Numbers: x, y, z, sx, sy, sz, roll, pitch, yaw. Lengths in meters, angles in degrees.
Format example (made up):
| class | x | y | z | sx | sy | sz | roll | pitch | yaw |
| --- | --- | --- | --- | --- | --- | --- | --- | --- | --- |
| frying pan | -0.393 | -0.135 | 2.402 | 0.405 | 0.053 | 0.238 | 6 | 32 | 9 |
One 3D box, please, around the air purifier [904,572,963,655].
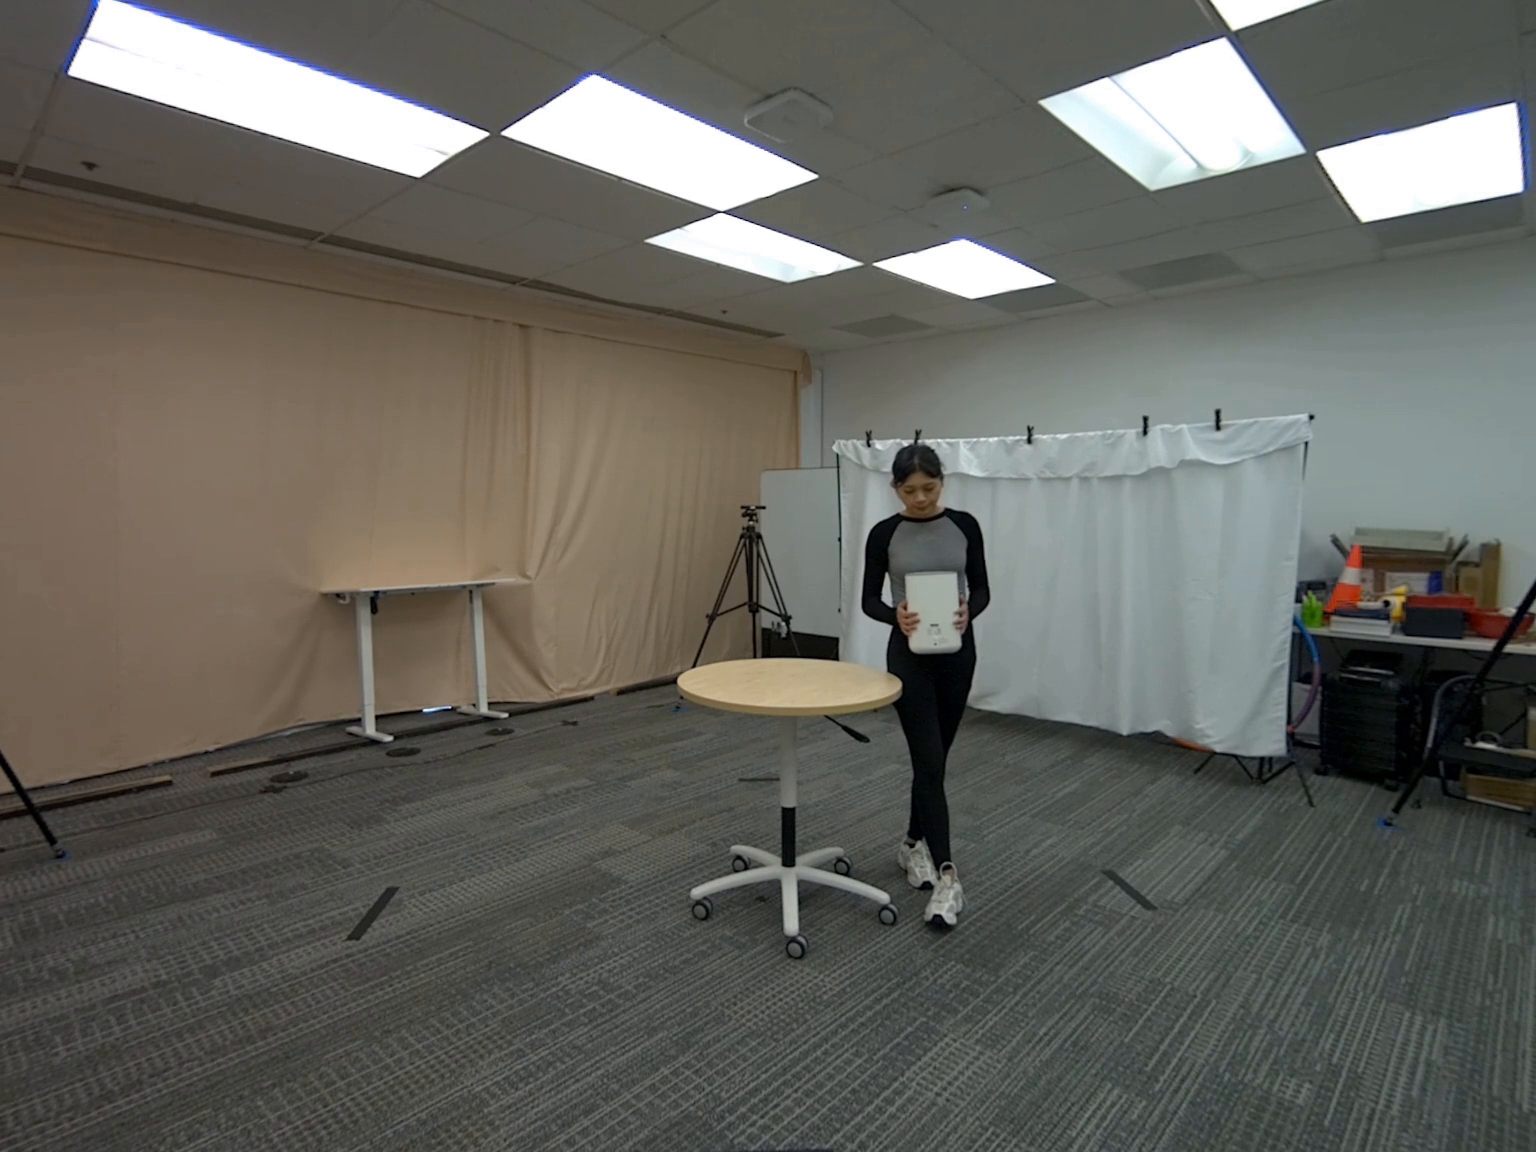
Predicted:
| class | x | y | z | sx | sy | sz | roll | pitch | yaw |
| --- | --- | --- | --- | --- | --- | --- | --- | --- | --- |
| air purifier | 0.551 | 0.122 | 2.827 | 0.174 | 0.266 | 0.168 | -3 | -2 | 12 |
